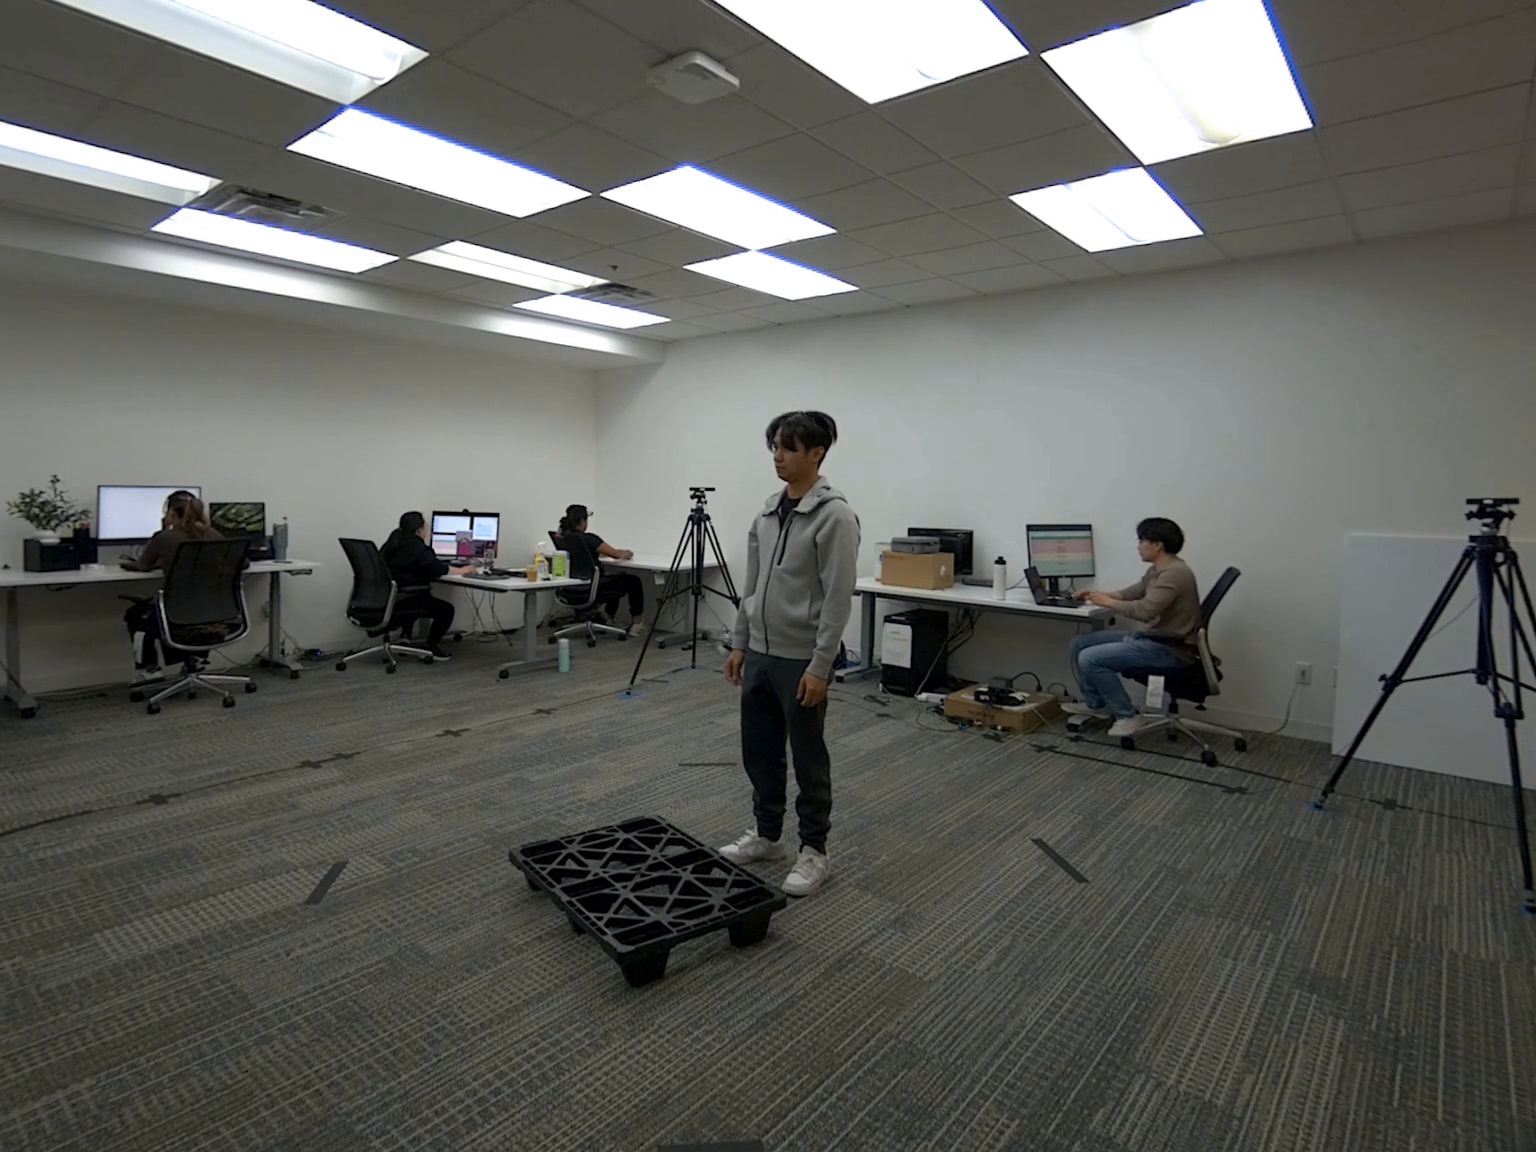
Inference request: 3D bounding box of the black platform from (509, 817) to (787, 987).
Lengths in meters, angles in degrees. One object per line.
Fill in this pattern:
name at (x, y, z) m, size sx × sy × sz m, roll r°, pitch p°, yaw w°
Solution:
black platform at (-0.428, 1.029, 2.789) m, size 0.587 × 0.143 × 0.833 m, roll -3°, pitch 7°, yaw -37°
